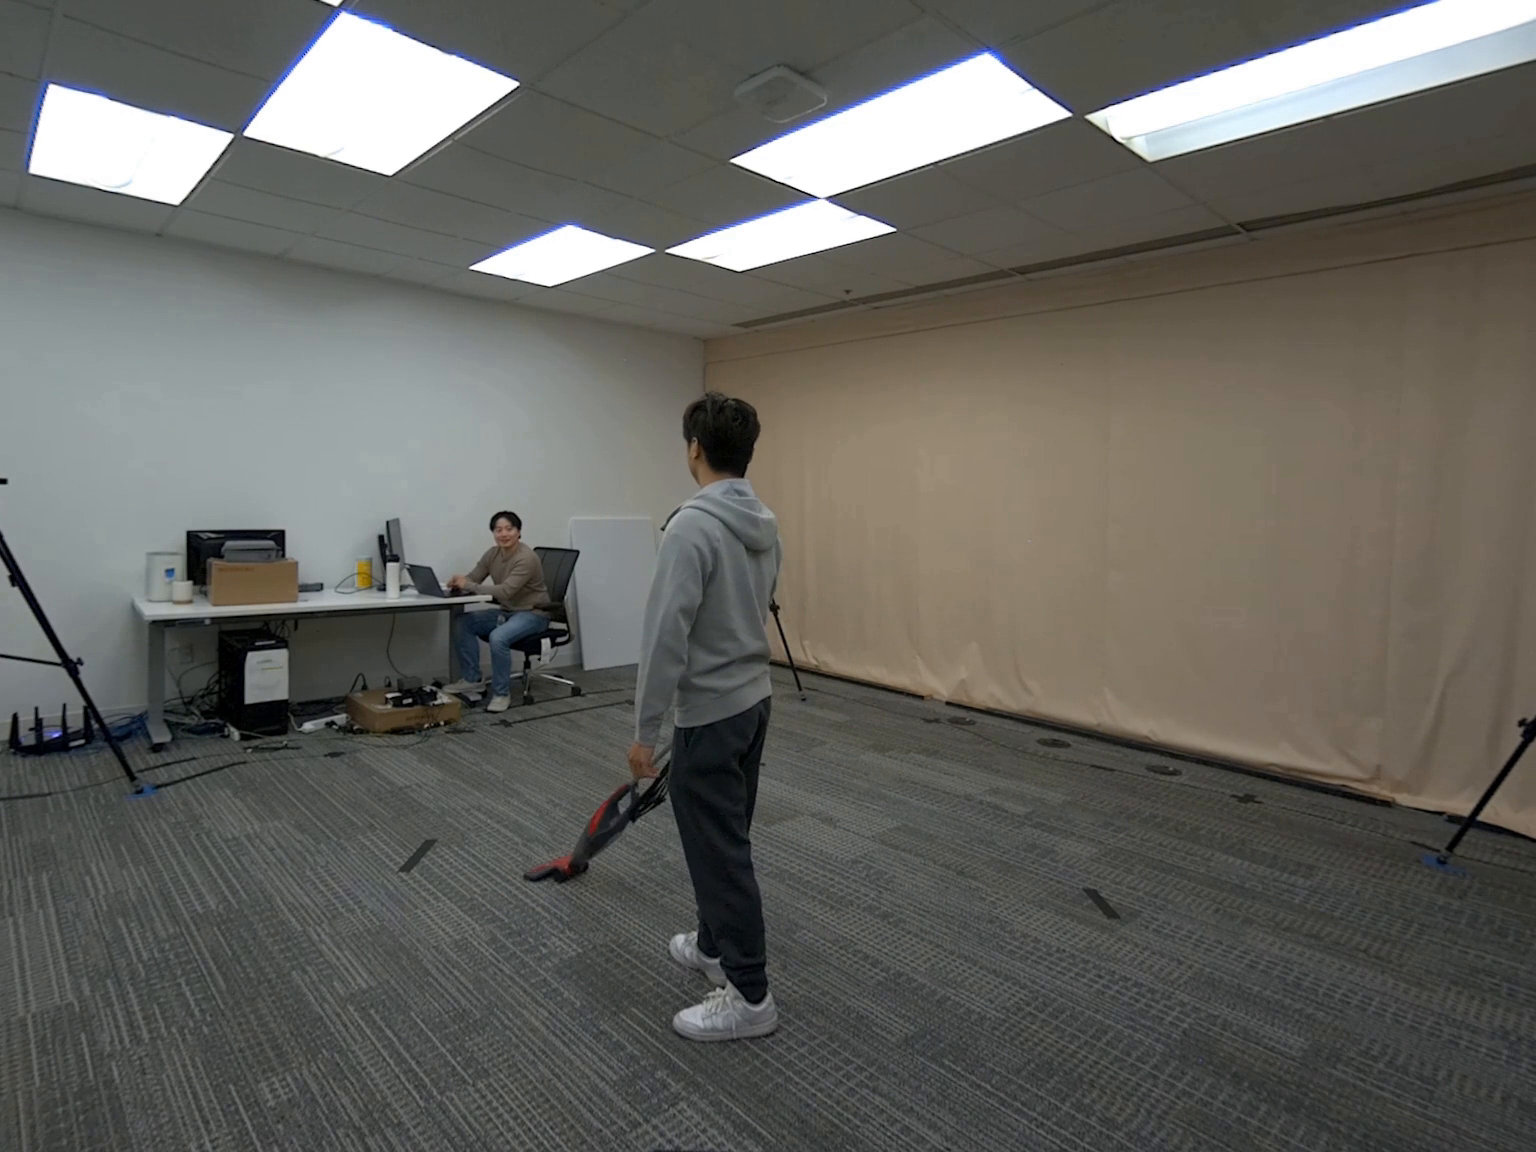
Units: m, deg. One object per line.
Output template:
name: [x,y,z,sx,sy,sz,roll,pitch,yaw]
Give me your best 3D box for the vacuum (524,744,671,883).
vacuum: [-0.459,0.759,2.852,1.049,0.146,0.248,-46,-18,29]
